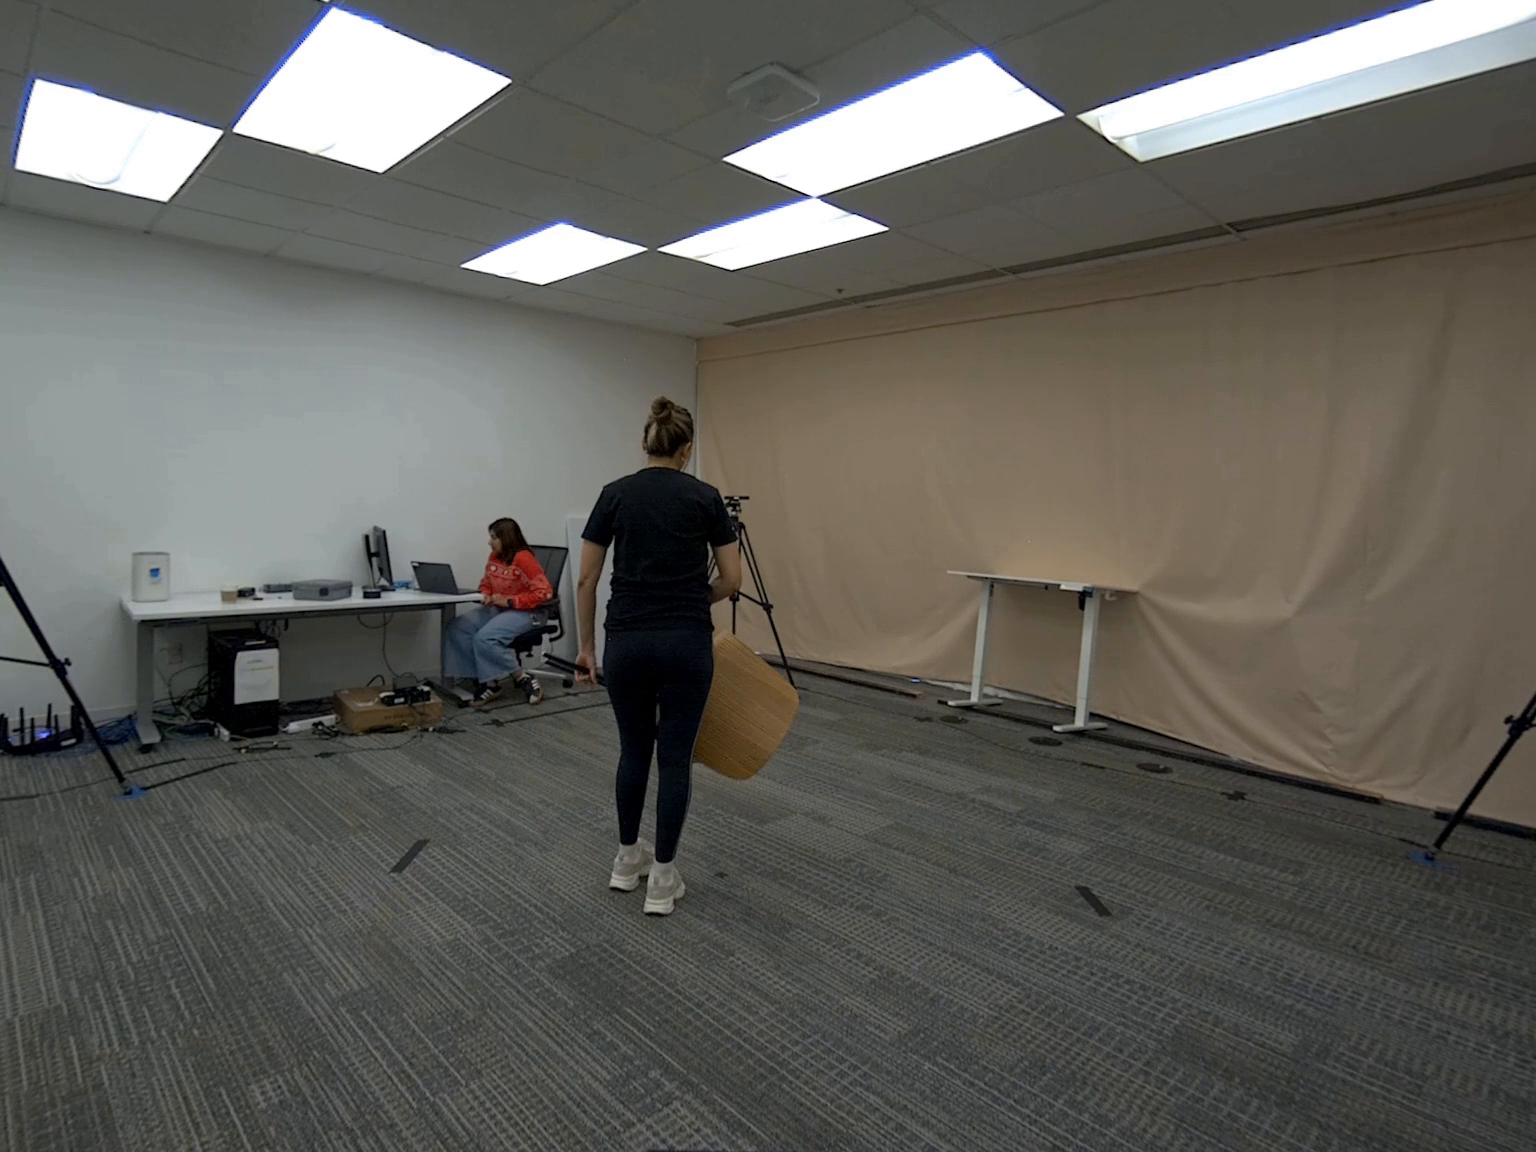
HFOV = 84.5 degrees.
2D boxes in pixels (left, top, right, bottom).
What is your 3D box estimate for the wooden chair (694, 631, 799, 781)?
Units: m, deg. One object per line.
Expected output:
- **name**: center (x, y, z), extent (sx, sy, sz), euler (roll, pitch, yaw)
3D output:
- **wooden chair**: center (-0.356, 0.392, 3.176), extent (0.880, 0.479, 0.520), euler (34, -15, 2)
